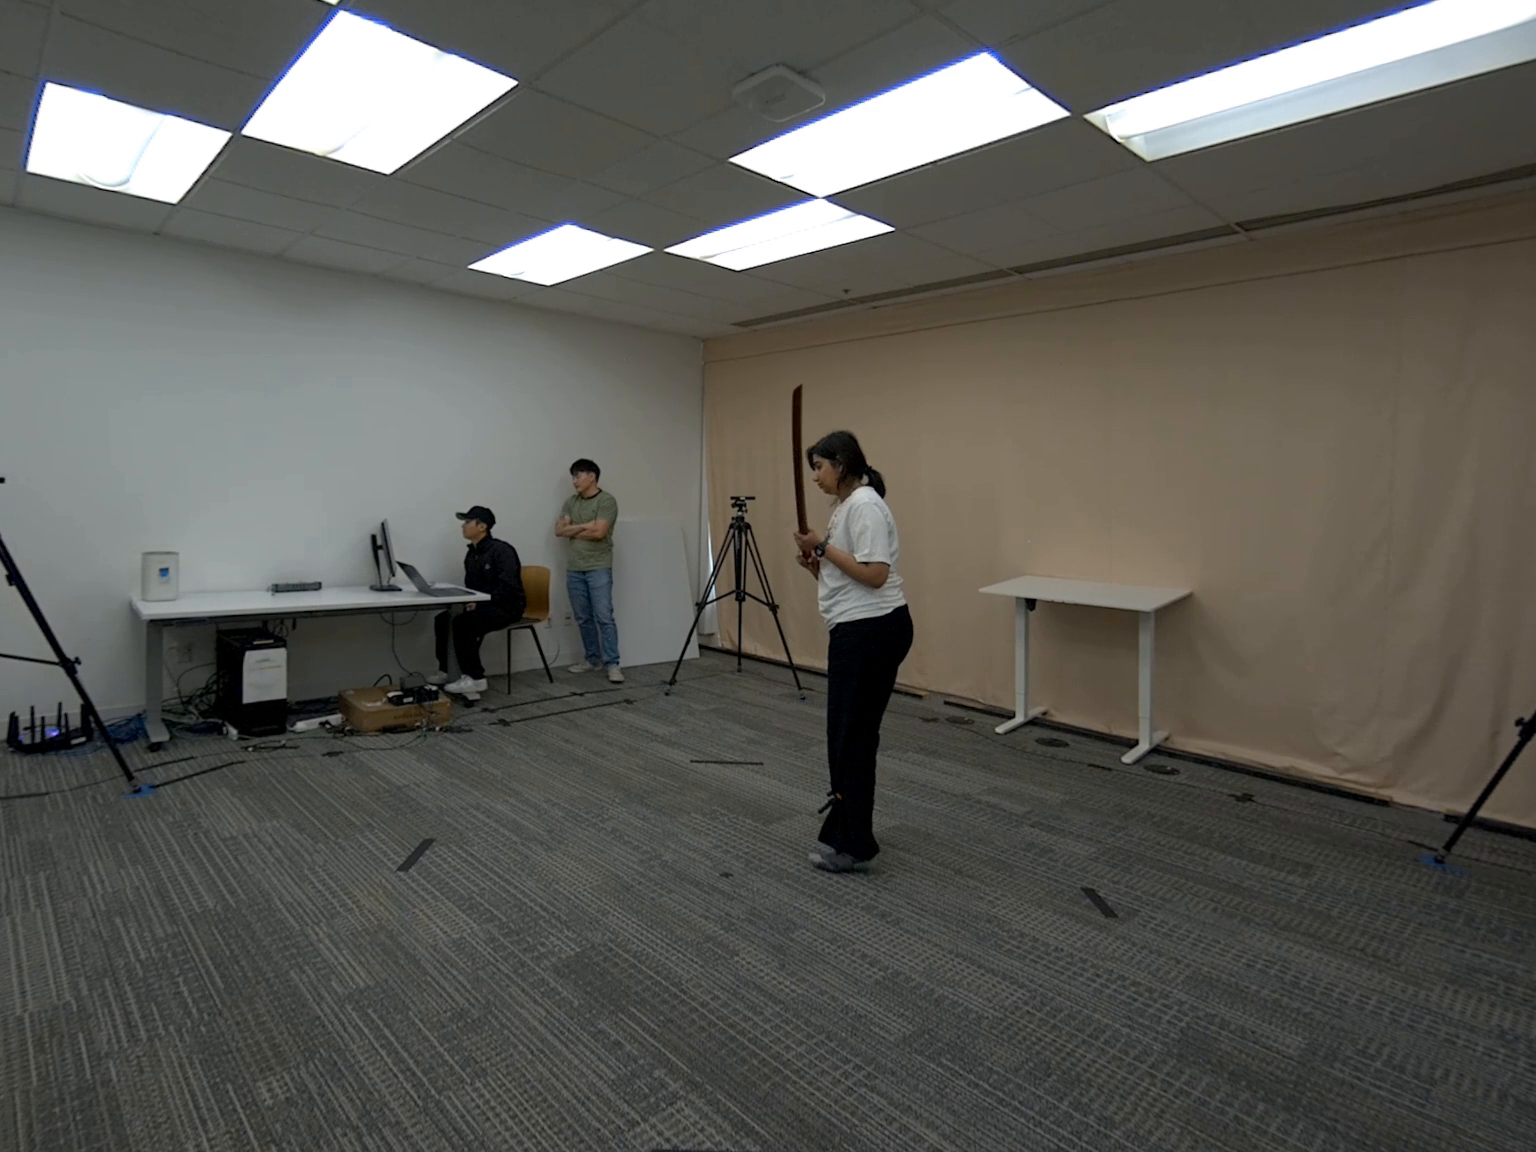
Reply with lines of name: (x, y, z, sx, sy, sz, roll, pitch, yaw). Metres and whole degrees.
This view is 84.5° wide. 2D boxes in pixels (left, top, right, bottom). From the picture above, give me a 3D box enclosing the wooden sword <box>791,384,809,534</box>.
wooden sword: (0.100, -0.311, 2.943, 0.051, 0.025, 1.001, -31, -30, -16)
